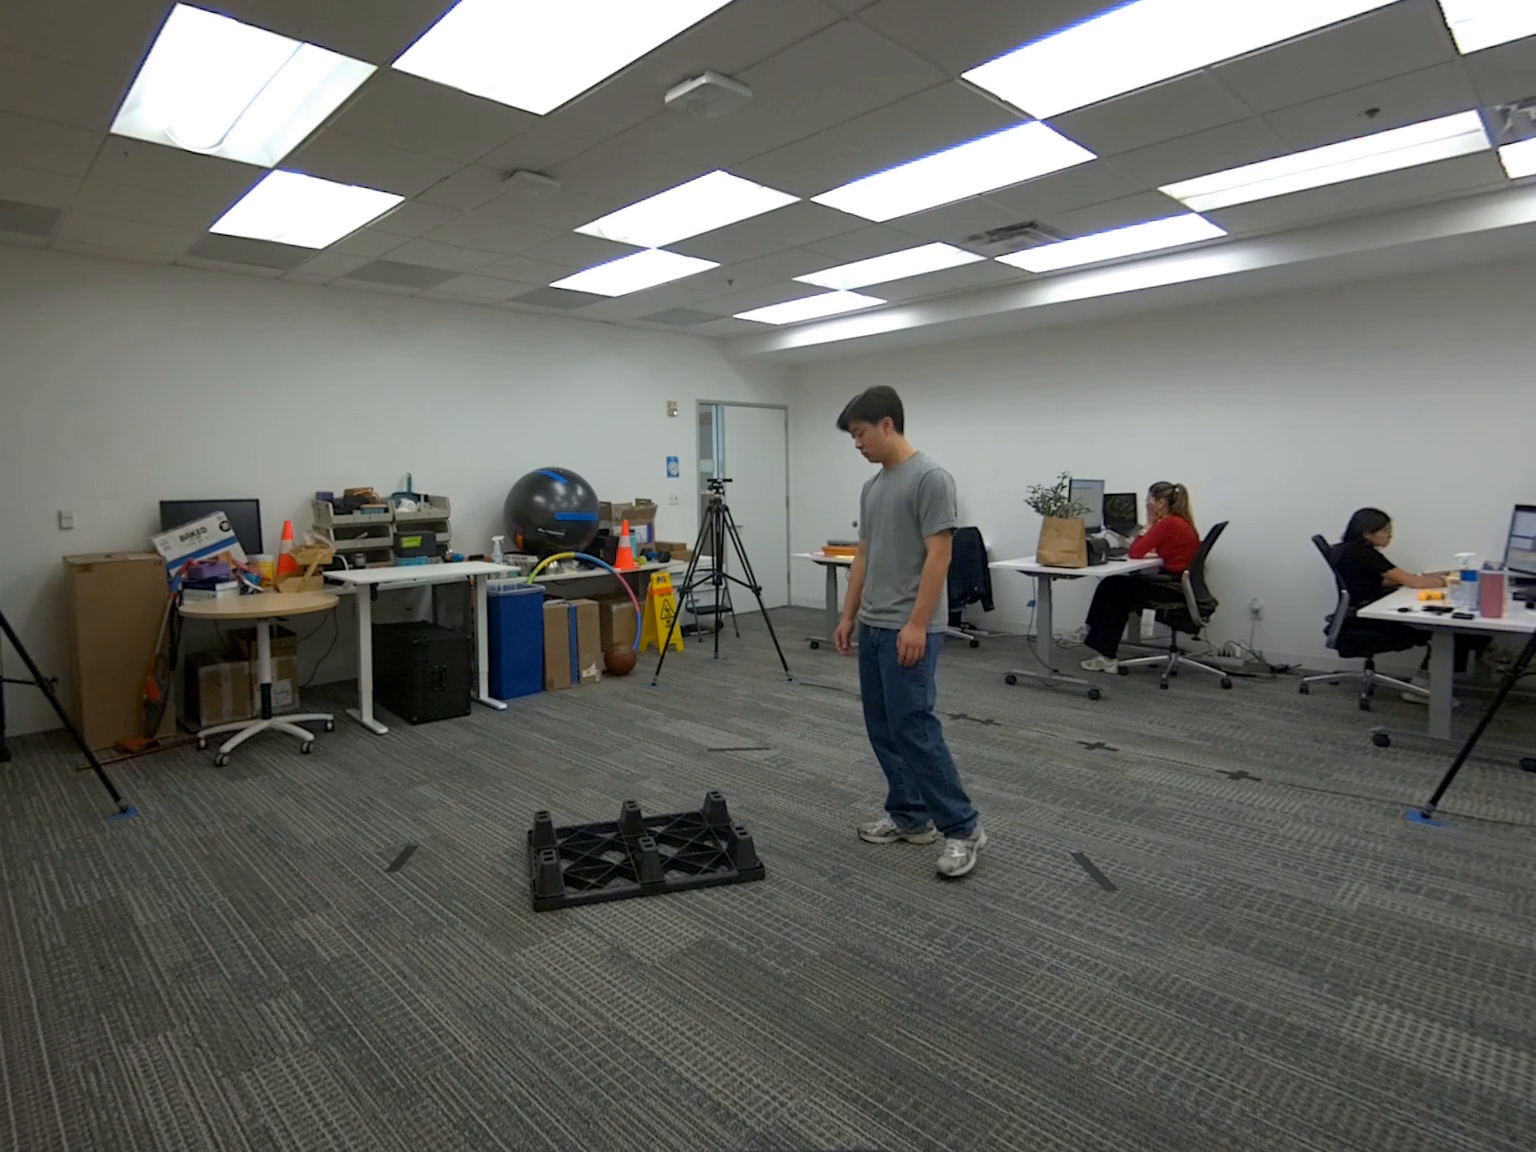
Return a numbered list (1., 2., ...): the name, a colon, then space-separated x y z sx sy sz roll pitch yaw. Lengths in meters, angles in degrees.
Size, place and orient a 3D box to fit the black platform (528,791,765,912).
1. black platform: -0.470 0.978 3.155 0.794 0.143 0.616 -3 6 -16
